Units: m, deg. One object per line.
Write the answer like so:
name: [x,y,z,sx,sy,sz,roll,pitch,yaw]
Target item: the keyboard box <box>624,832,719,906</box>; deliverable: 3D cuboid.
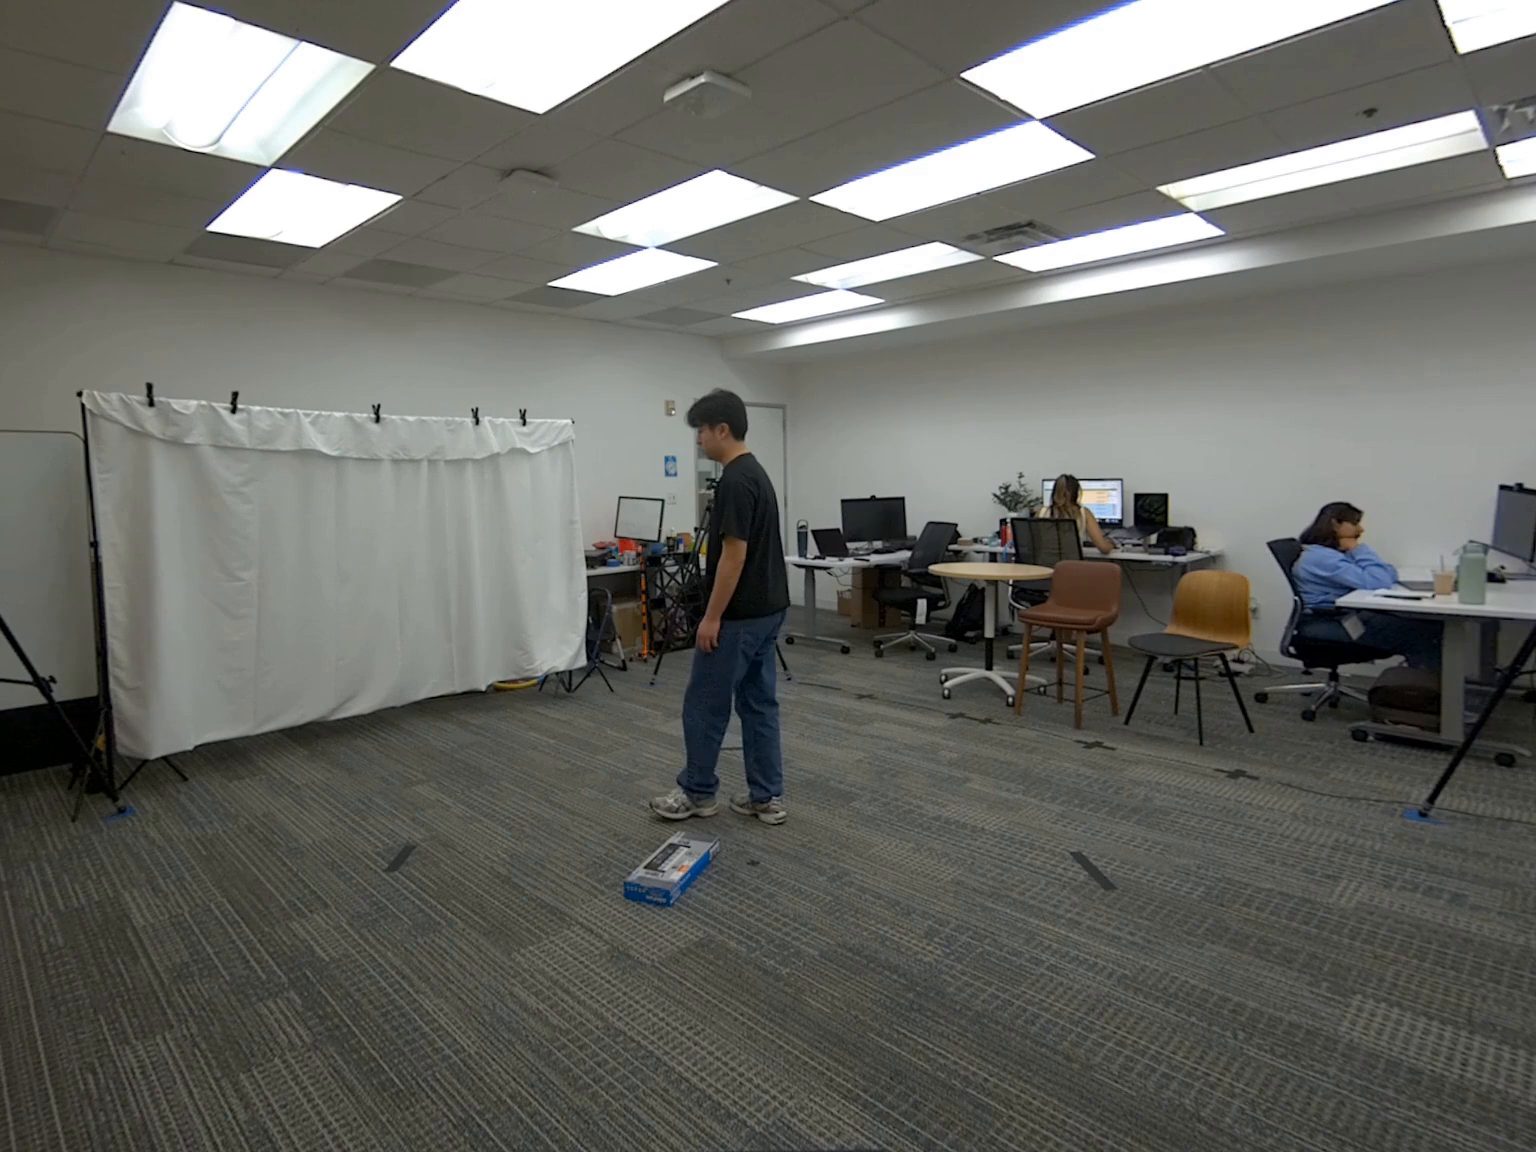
keyboard box: [-0.329,1.026,3.024,0.179,0.059,0.430,2,7,20]
